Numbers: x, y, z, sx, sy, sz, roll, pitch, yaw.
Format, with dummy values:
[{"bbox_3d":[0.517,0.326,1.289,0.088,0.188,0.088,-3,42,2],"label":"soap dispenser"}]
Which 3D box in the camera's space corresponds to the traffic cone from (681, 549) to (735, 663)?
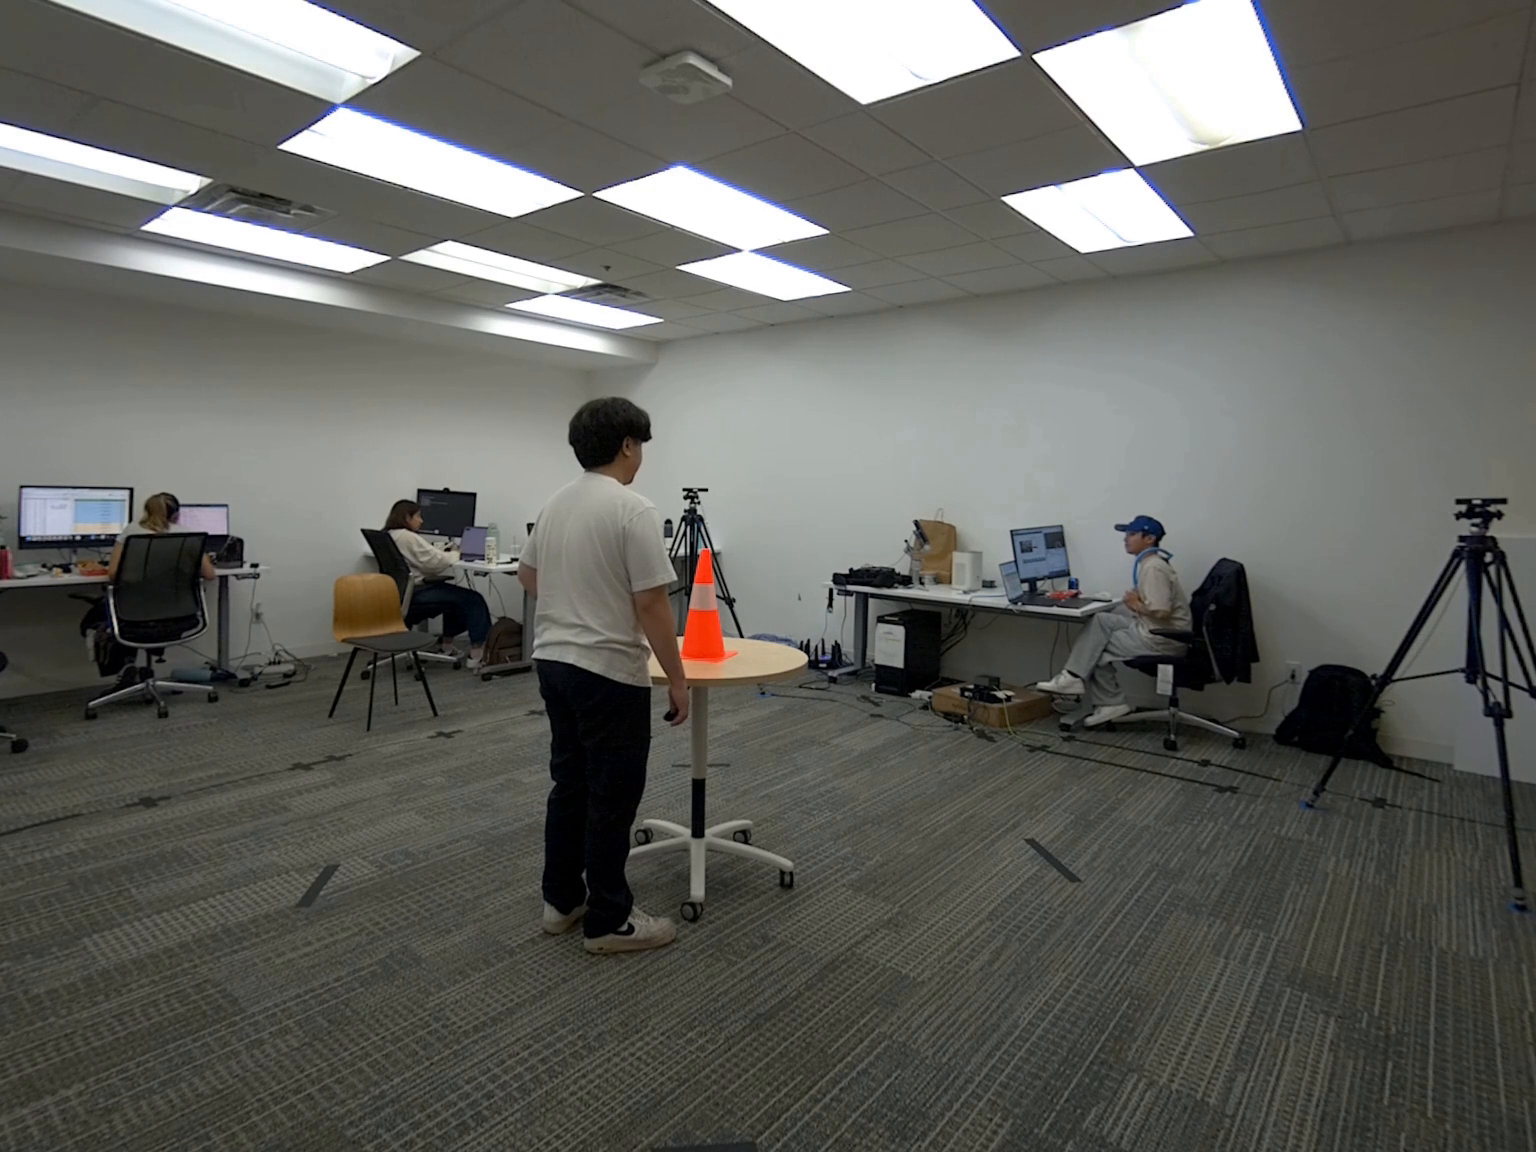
[{"bbox_3d":[-0.237,0.093,3.018,0.210,0.382,0.199,3,5,23],"label":"traffic cone"}]
